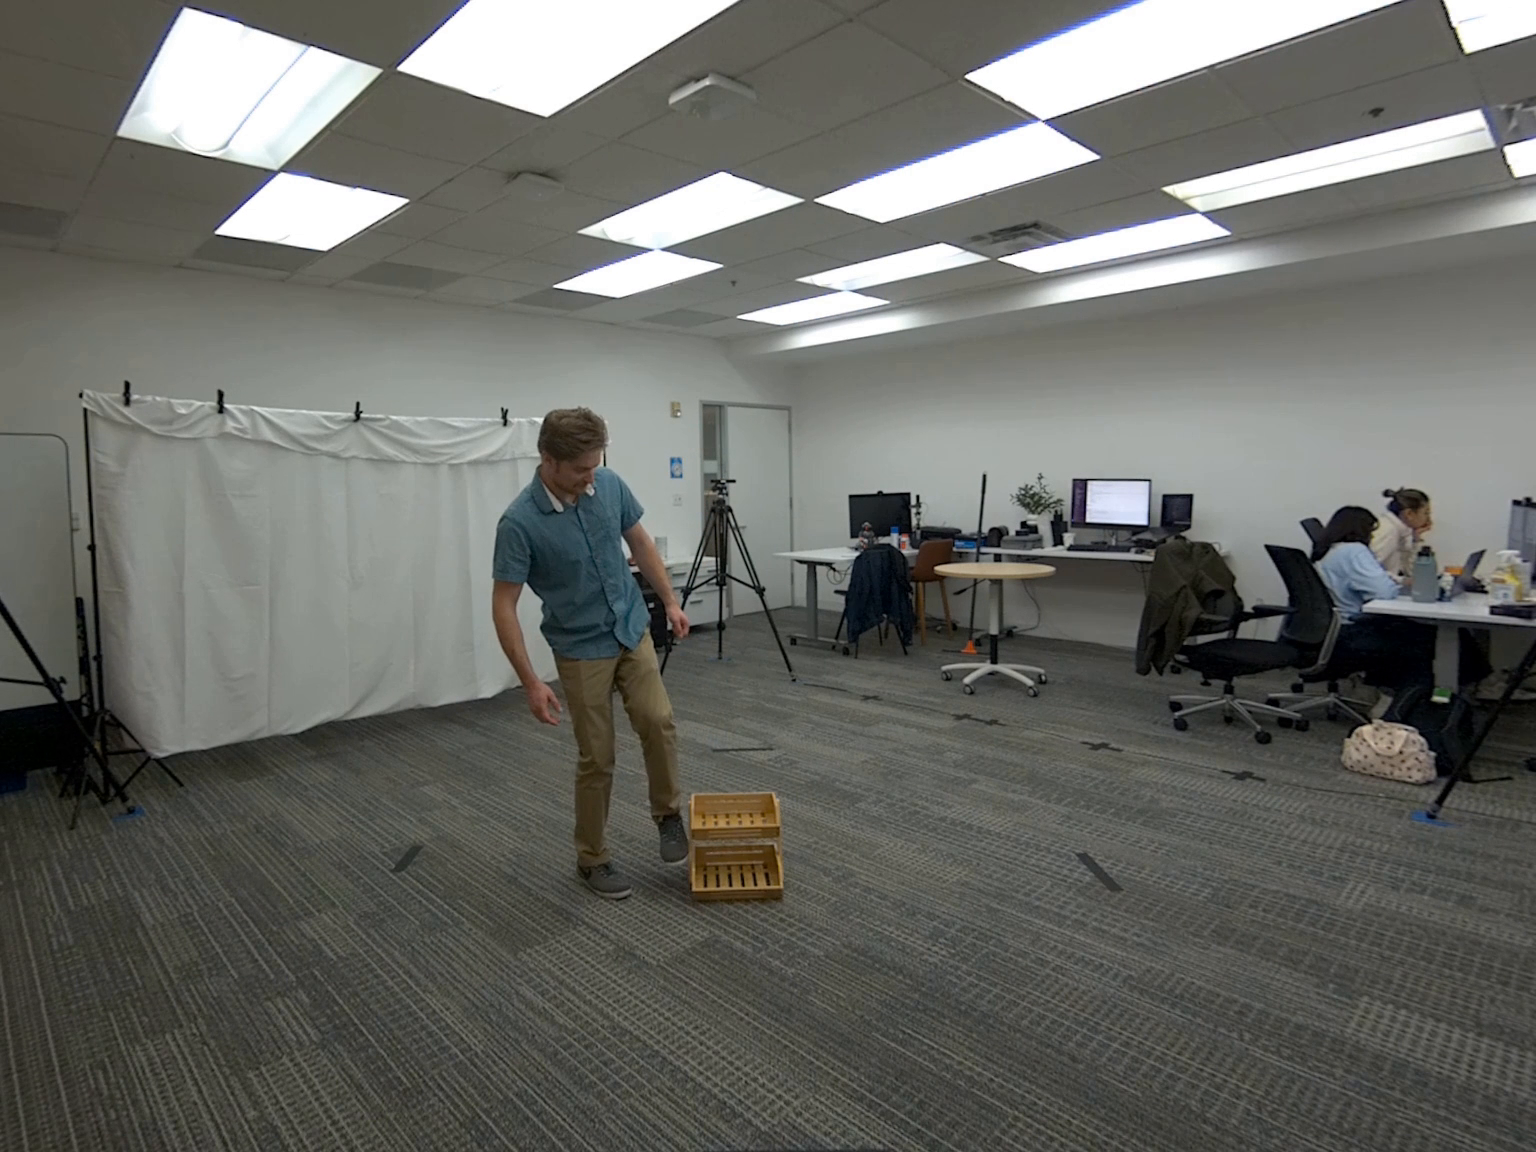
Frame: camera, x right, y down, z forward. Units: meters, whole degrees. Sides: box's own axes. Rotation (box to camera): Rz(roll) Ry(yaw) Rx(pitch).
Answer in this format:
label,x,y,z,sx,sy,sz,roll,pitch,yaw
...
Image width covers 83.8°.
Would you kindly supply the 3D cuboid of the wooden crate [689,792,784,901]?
label,x,y,z,sx,sy,sz,roll,pitch,yaw
wooden crate,-0.103,0.931,2.950,0.323,0.272,0.304,-1,5,-4
